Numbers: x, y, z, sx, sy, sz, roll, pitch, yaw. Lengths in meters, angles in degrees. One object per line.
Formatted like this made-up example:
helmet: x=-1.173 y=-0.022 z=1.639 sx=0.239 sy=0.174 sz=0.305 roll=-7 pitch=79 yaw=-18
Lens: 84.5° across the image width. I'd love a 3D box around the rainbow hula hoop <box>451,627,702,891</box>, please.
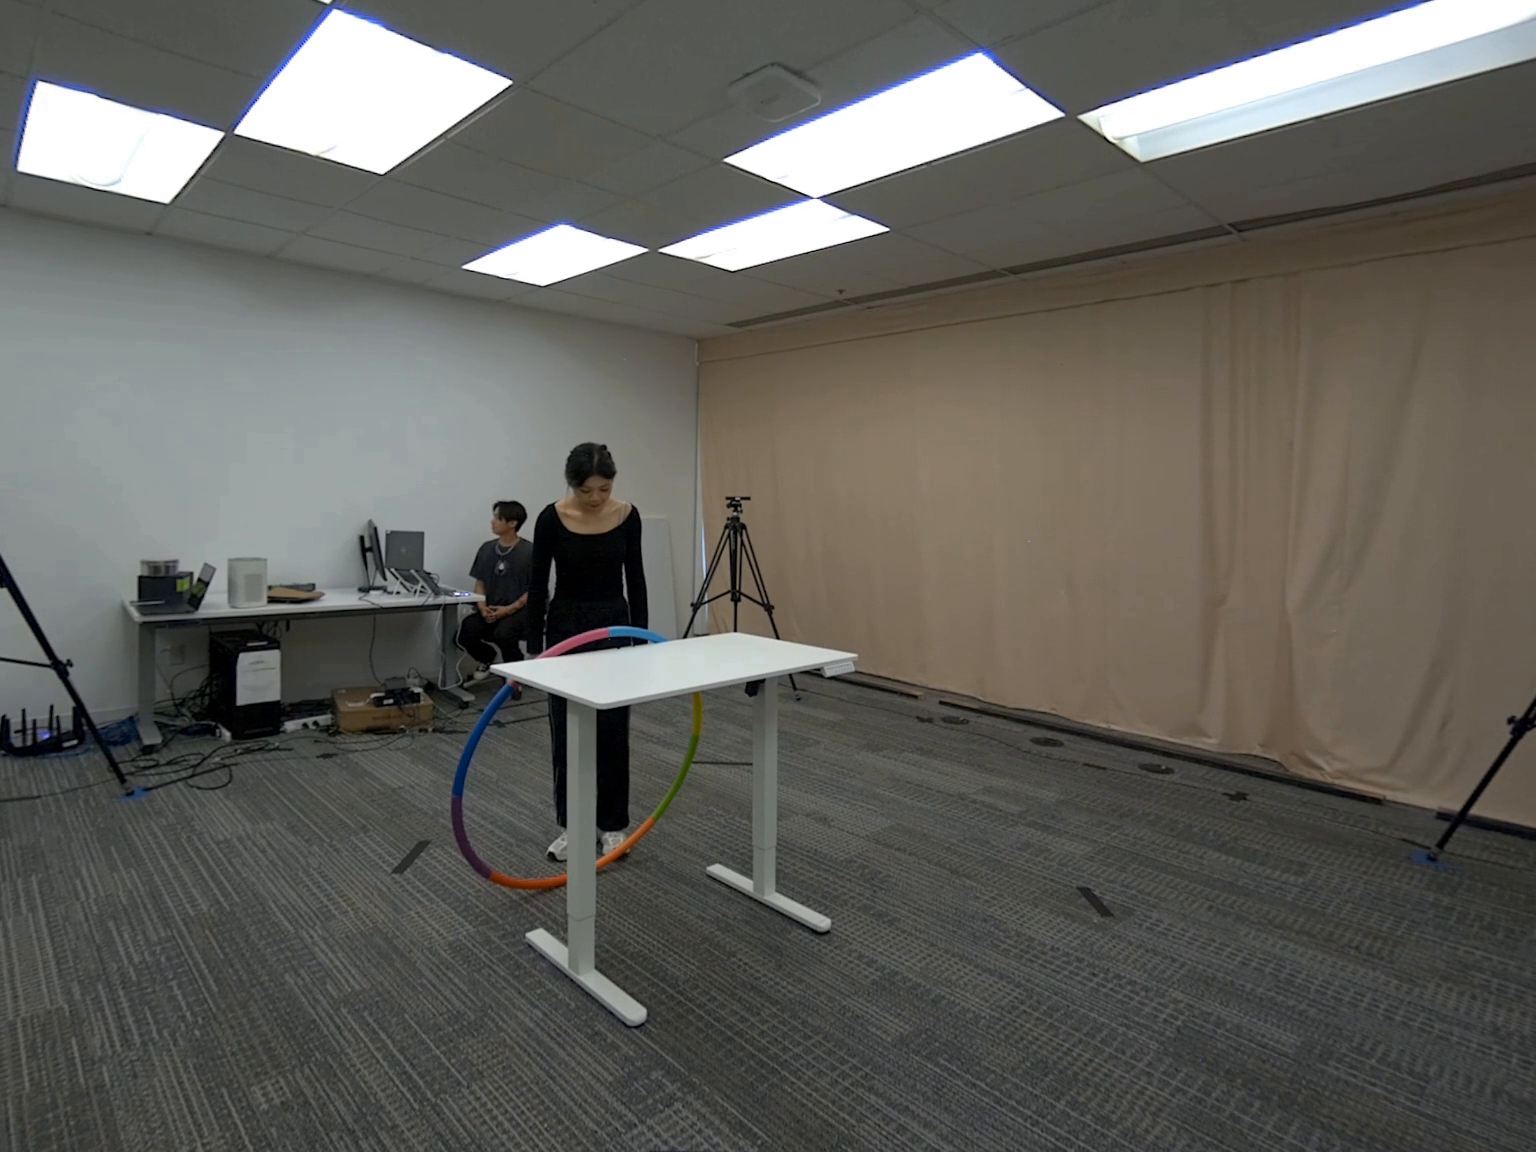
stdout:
rainbow hula hoop: x=-0.619 y=0.641 z=2.911 sx=0.956 sy=0.971 sz=0.036 roll=-3 pitch=21 yaw=-45
